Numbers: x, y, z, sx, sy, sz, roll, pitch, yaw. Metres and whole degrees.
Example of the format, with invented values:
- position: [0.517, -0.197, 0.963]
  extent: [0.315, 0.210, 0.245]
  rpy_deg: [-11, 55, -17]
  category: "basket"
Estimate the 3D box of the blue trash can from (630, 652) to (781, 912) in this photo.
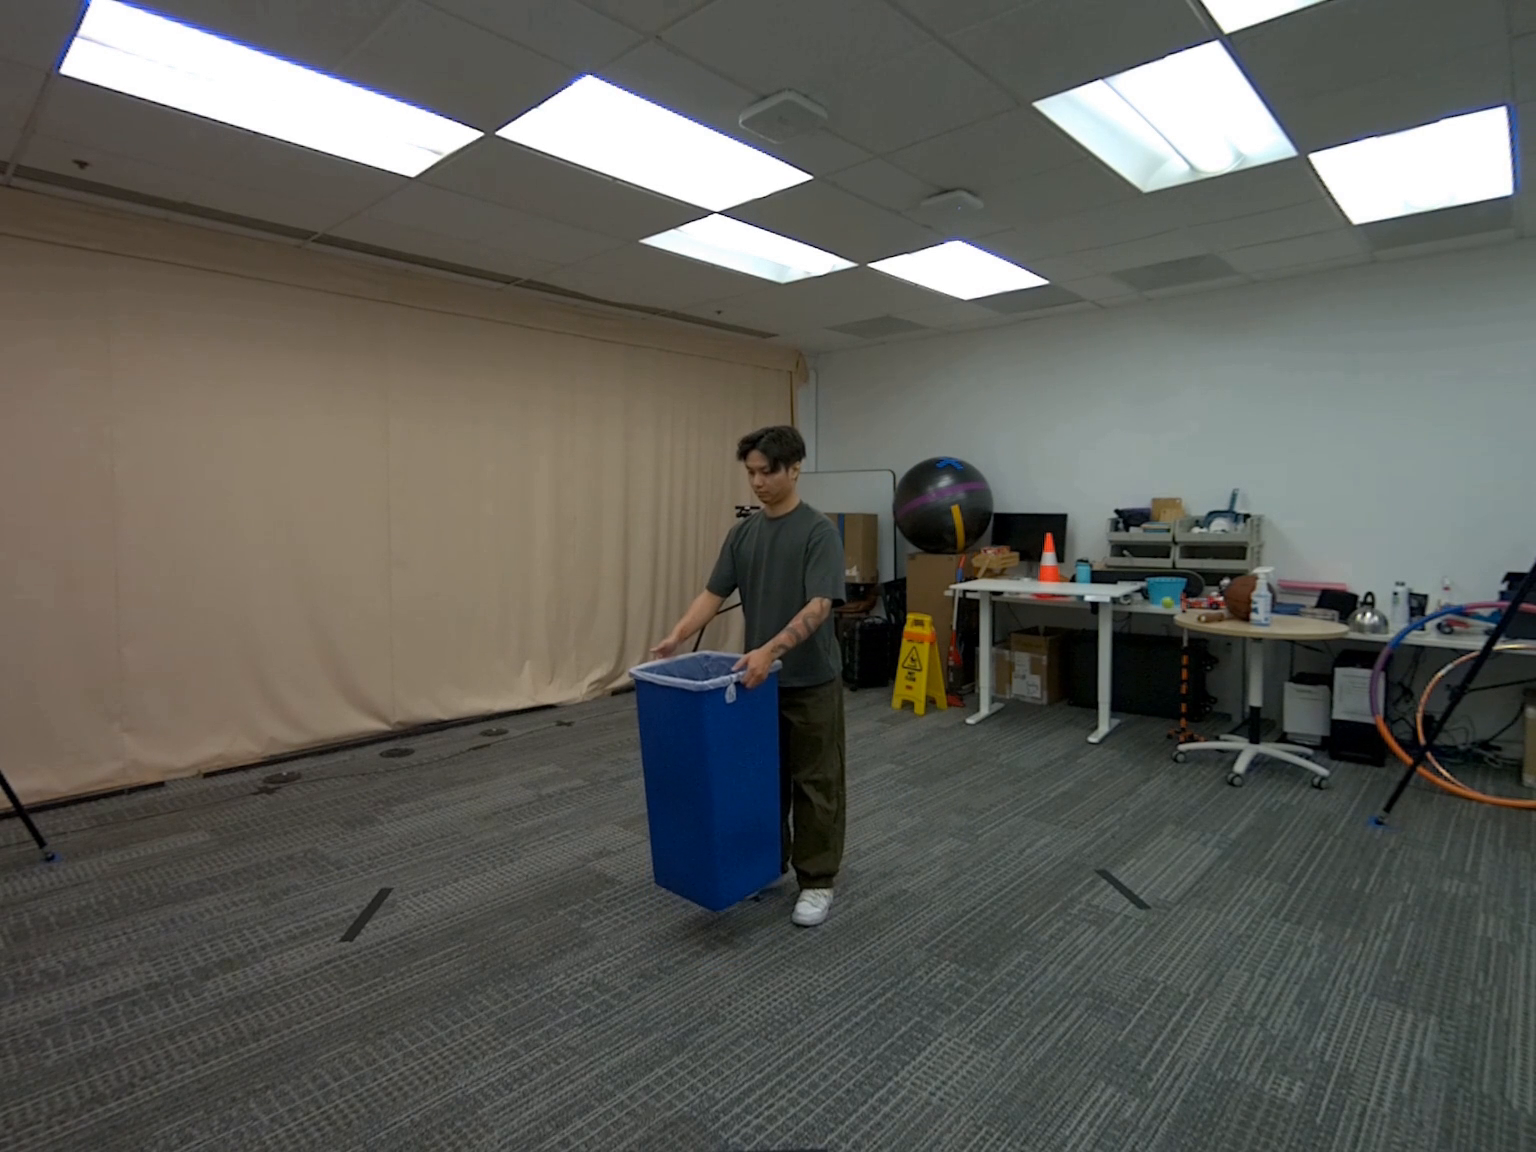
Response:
- position: [-0.184, 0.648, 2.713]
  extent: [0.390, 0.712, 0.363]
  rpy_deg: [0, 5, 43]
  category: "blue trash can"
